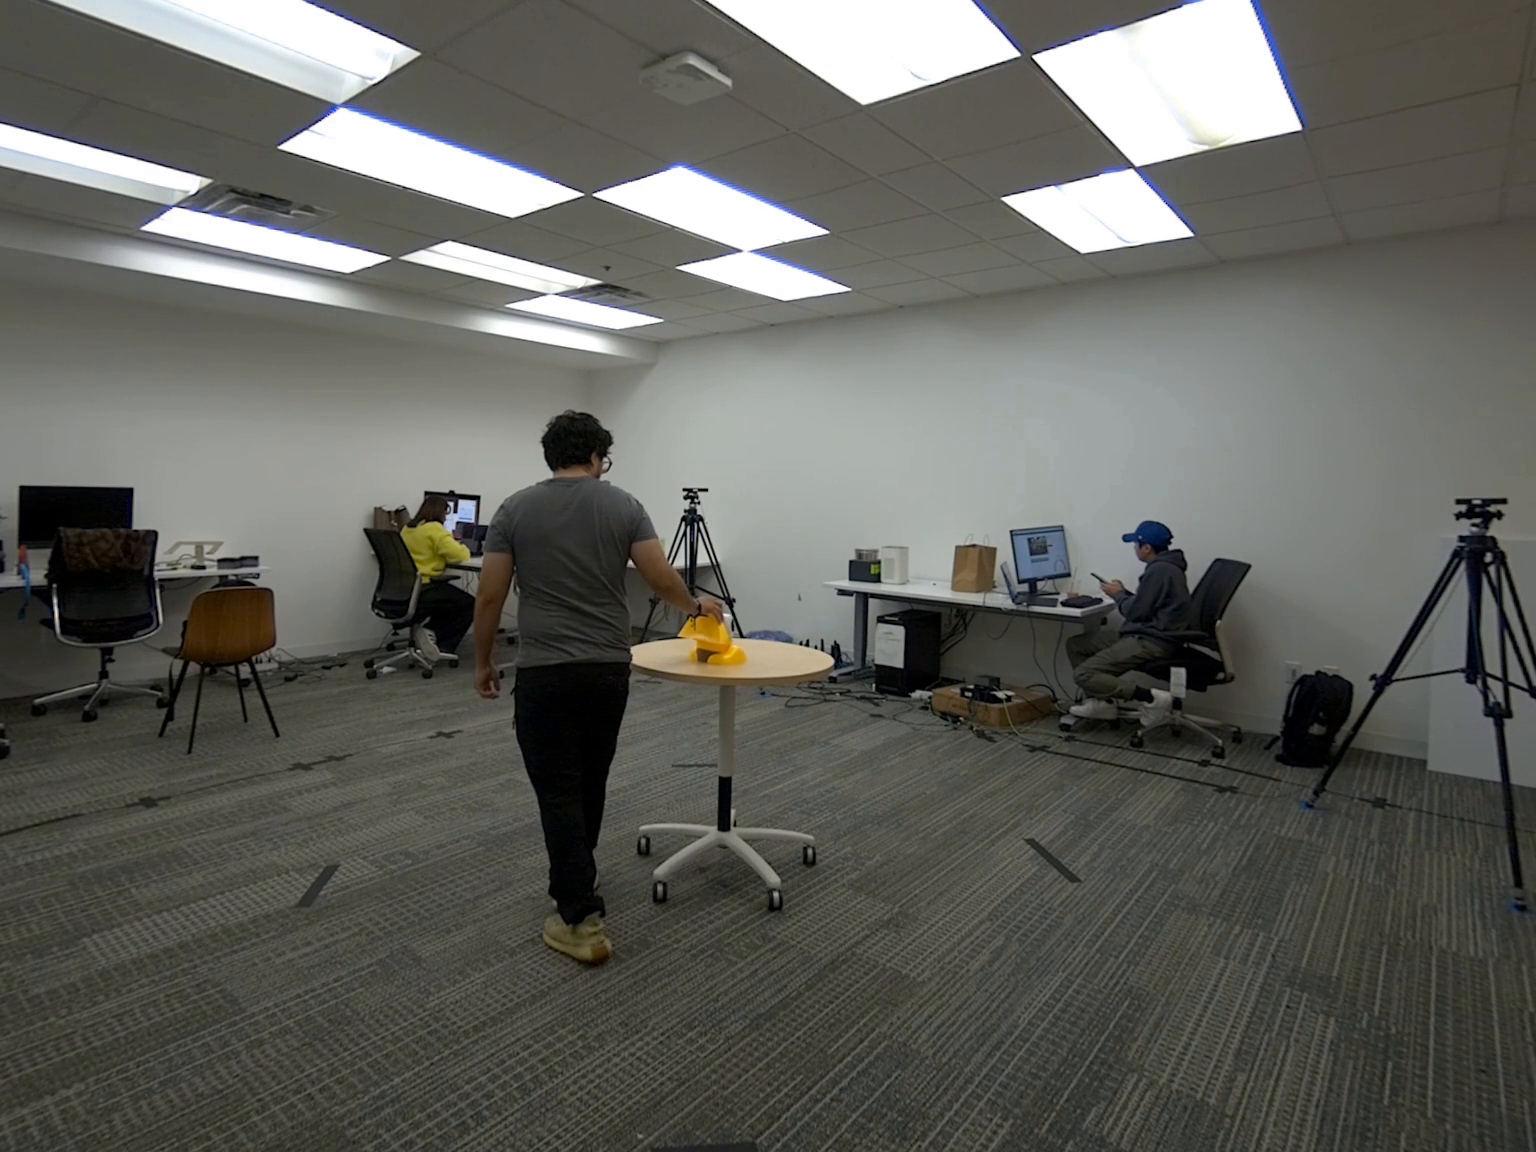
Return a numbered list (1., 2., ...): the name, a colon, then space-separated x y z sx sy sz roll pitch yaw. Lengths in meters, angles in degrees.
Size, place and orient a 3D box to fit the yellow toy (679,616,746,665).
1. yellow toy: -0.189 0.181 3.017 0.212 0.230 0.187 4 4 40
